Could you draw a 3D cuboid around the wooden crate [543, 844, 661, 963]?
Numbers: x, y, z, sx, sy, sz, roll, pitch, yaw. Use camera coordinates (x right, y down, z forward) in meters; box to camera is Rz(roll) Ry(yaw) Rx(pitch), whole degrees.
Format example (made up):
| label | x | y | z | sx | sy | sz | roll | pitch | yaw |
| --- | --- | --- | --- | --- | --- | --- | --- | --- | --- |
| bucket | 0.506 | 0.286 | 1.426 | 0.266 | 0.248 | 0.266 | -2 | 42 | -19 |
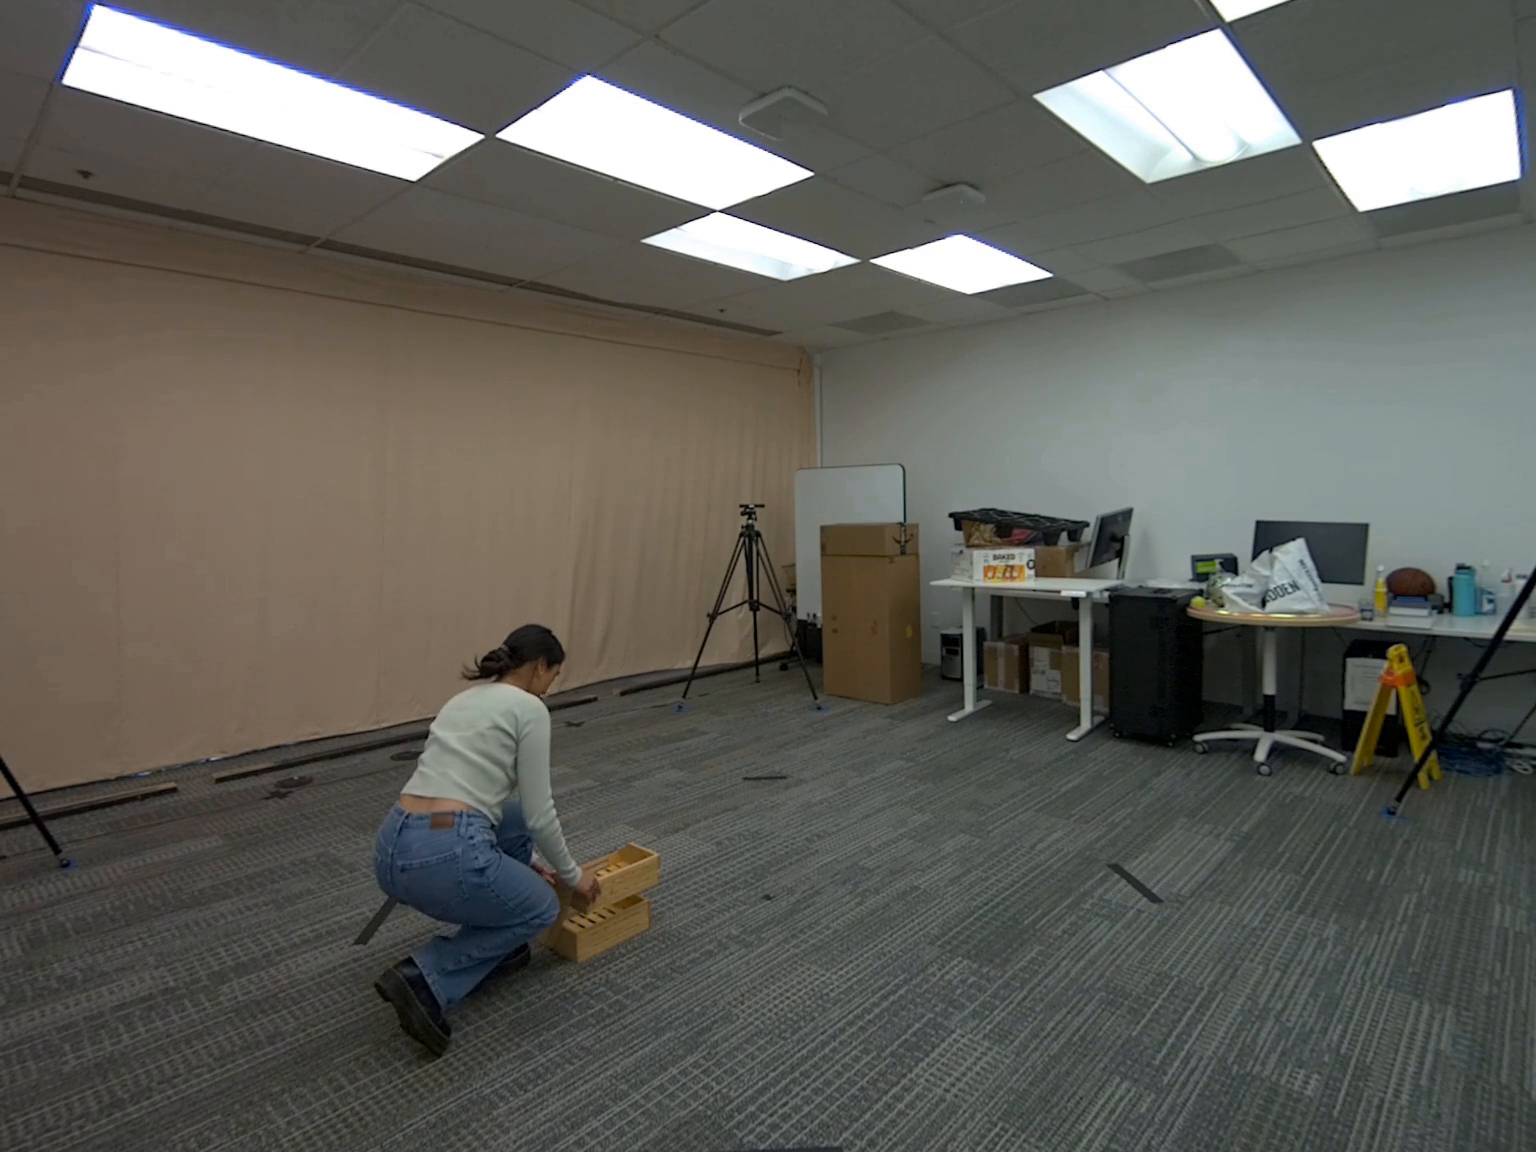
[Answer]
| label | x | y | z | sx | sy | sz | roll | pitch | yaw |
| --- | --- | --- | --- | --- | --- | --- | --- | --- | --- |
| wooden crate | -0.563 | 1.039 | 2.743 | 0.312 | 0.272 | 0.315 | 4 | 6 | 42 |
